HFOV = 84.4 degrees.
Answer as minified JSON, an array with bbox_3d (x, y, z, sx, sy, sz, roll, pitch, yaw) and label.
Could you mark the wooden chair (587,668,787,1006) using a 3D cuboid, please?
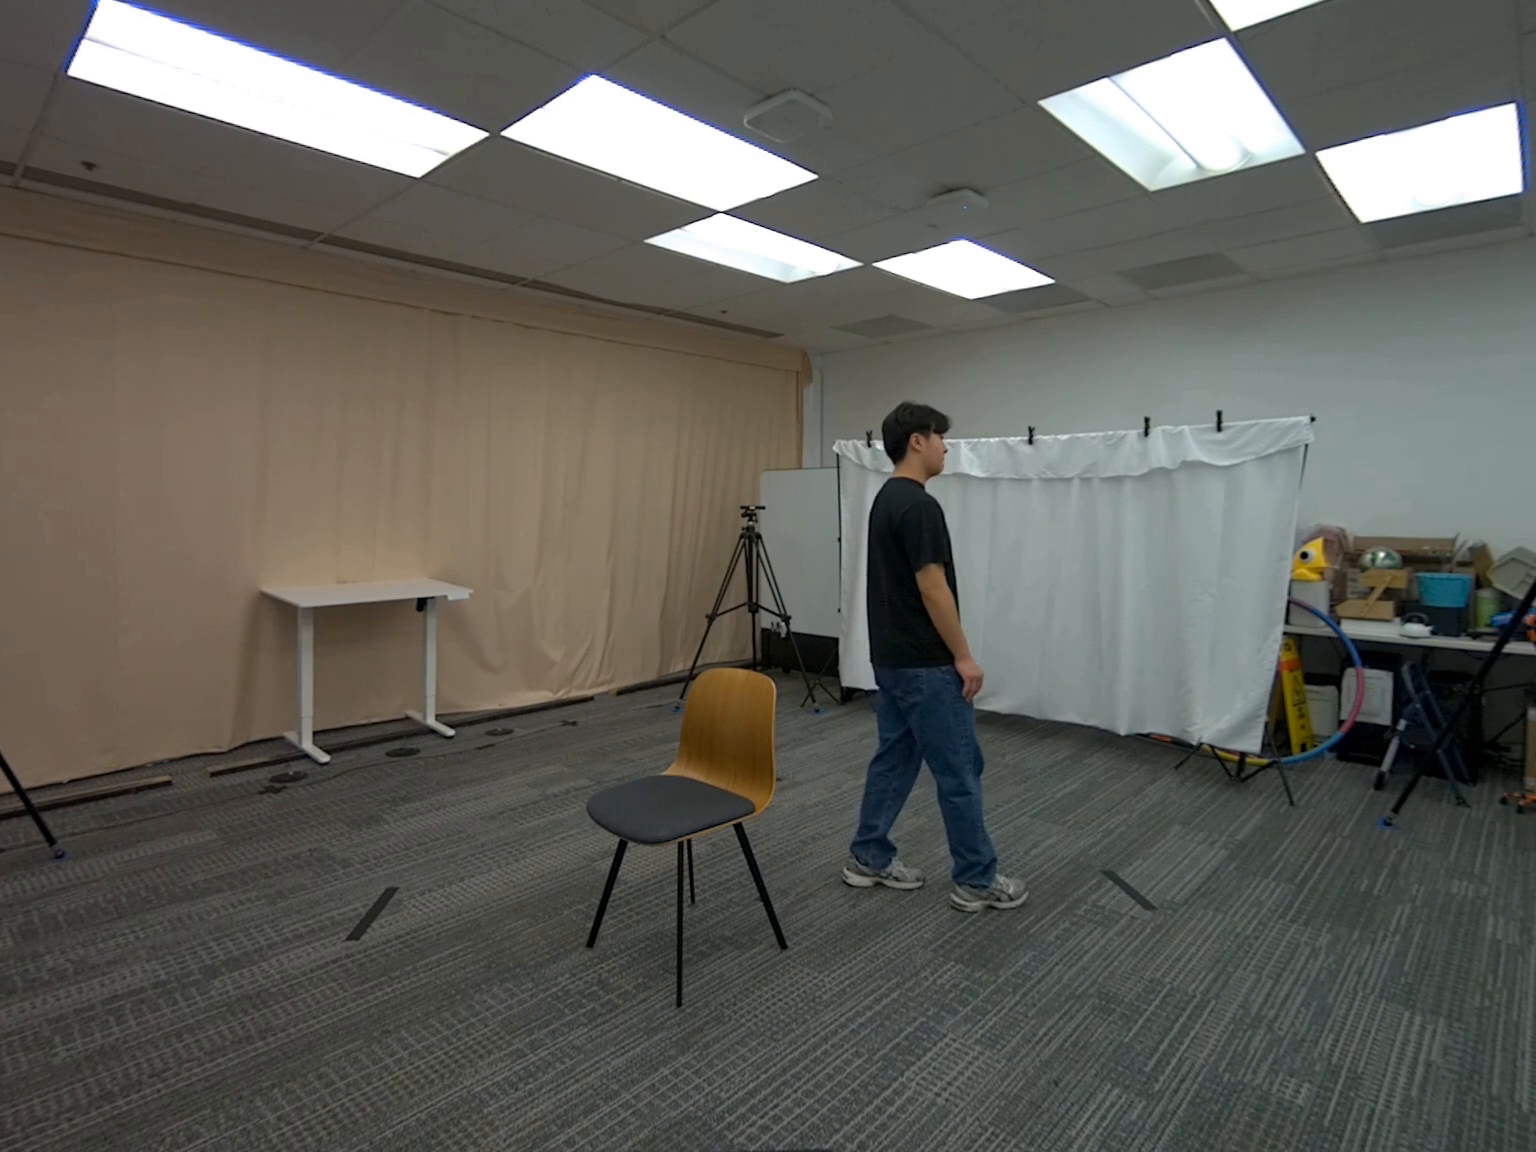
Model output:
[{"bbox_3d":[-0.257,0.747,2.618,0.506,0.877,0.494,2,0,-45],"label":"wooden chair"}]
